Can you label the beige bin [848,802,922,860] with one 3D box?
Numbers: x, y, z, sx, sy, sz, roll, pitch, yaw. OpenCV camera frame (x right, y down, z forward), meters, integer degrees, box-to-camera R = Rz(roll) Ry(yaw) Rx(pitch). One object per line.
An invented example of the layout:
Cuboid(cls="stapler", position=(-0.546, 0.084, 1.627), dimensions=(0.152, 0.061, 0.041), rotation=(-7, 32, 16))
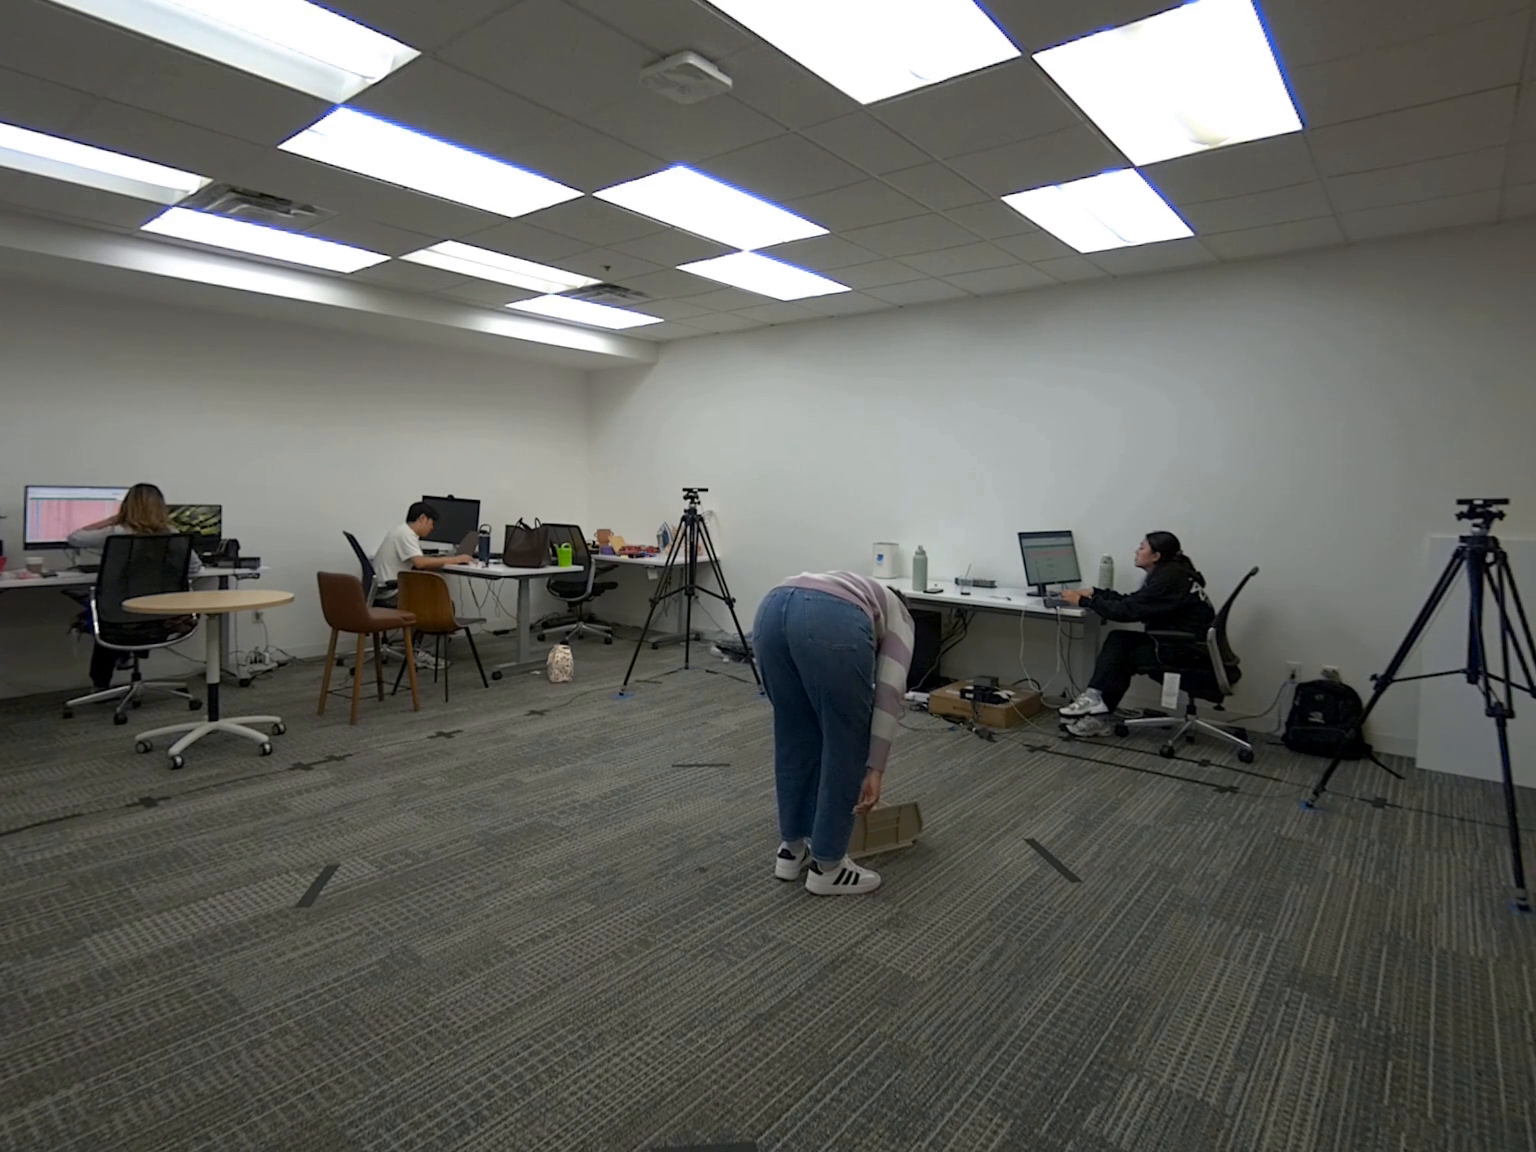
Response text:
Cuboid(cls="beige bin", position=(0.341, 0.956, 3.474), dimensions=(0.367, 0.188, 0.436), rotation=(-3, 7, -31))
